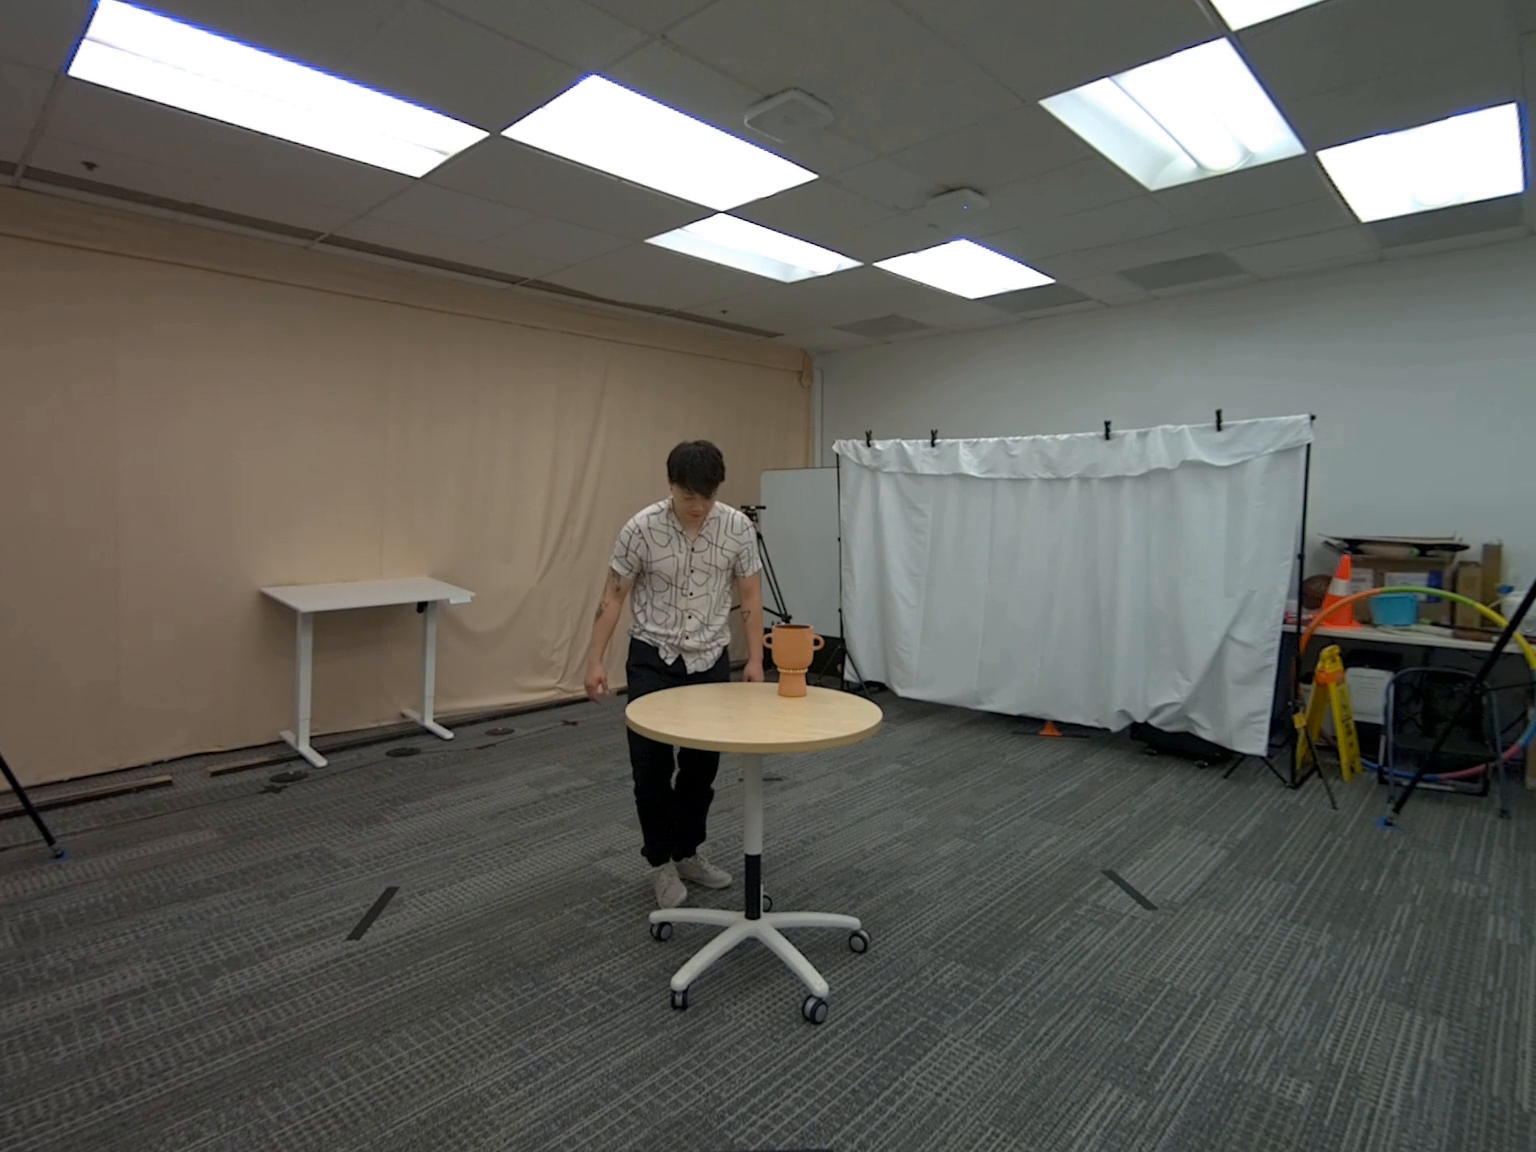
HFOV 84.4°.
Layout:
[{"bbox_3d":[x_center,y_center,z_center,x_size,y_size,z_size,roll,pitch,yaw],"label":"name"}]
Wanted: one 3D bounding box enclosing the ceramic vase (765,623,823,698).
[{"bbox_3d":[0.087,0.276,2.724,0.130,0.219,0.164,-1,3,-42],"label":"ceramic vase"}]
